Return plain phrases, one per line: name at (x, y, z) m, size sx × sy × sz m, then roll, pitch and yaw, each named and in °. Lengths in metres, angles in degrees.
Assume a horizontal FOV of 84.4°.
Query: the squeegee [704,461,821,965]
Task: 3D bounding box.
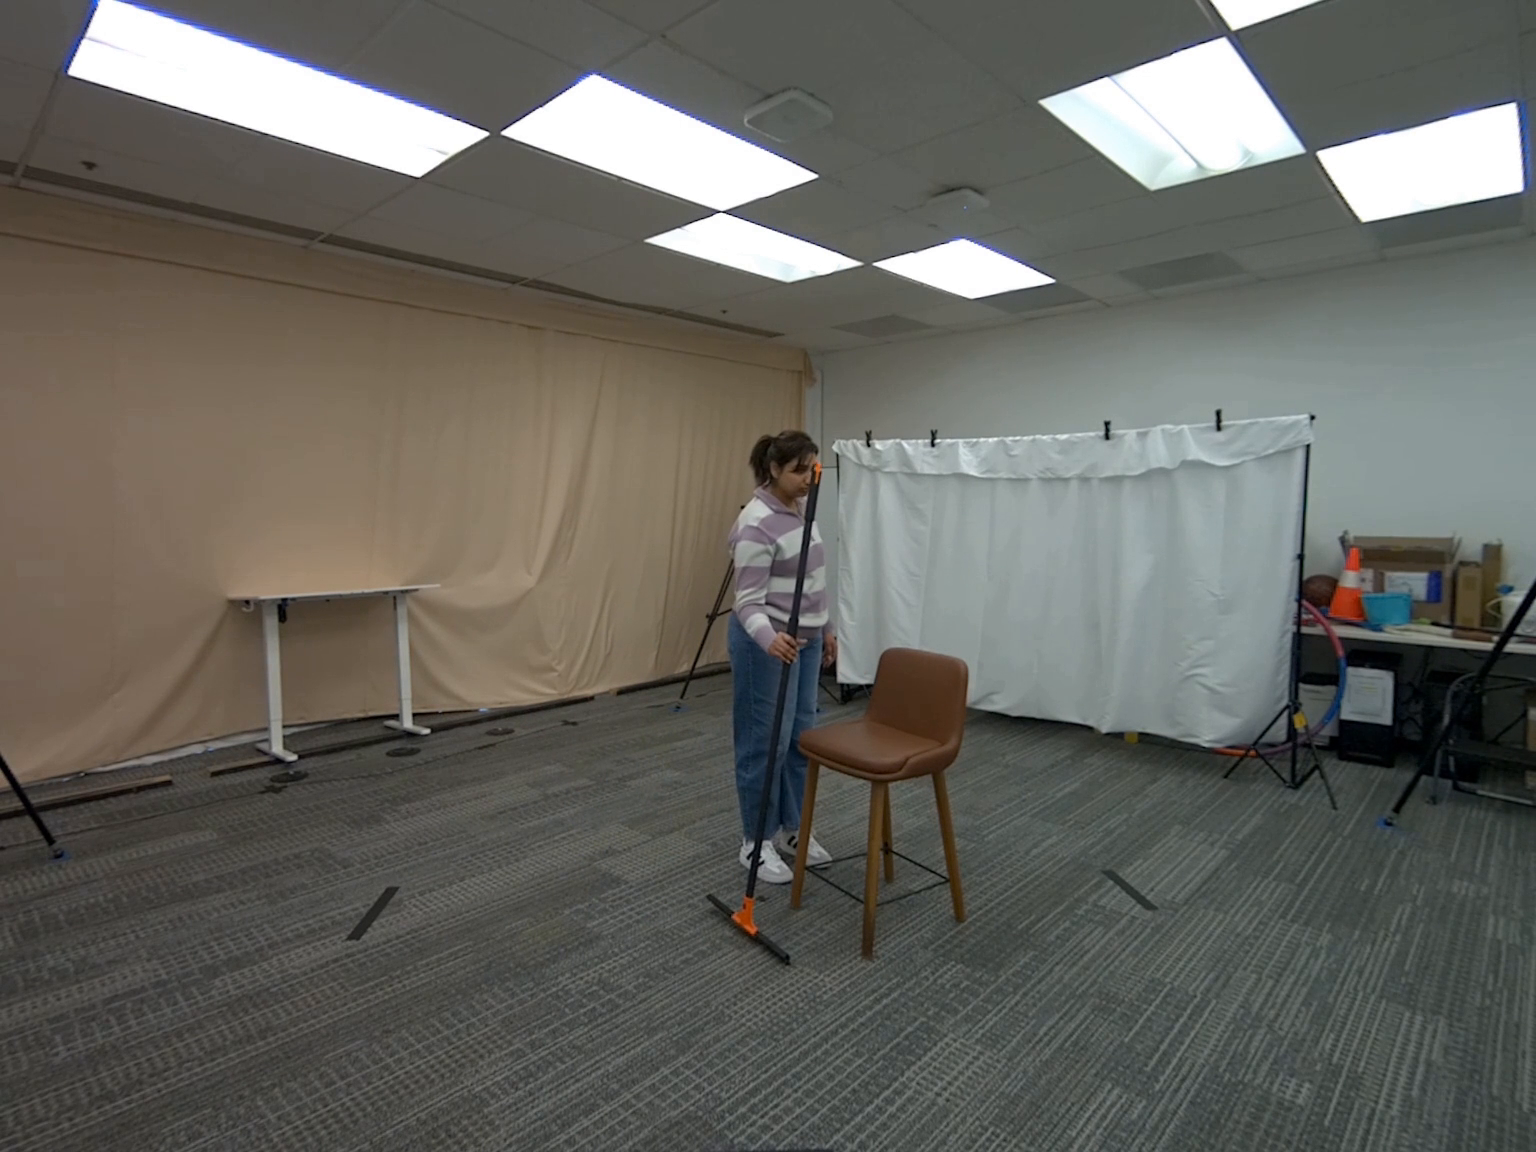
squeegee at (0.037, 0.385, 2.720) m, size 0.051 × 1.536 × 0.451 m, roll 5°, pitch 1°, yaw -33°
